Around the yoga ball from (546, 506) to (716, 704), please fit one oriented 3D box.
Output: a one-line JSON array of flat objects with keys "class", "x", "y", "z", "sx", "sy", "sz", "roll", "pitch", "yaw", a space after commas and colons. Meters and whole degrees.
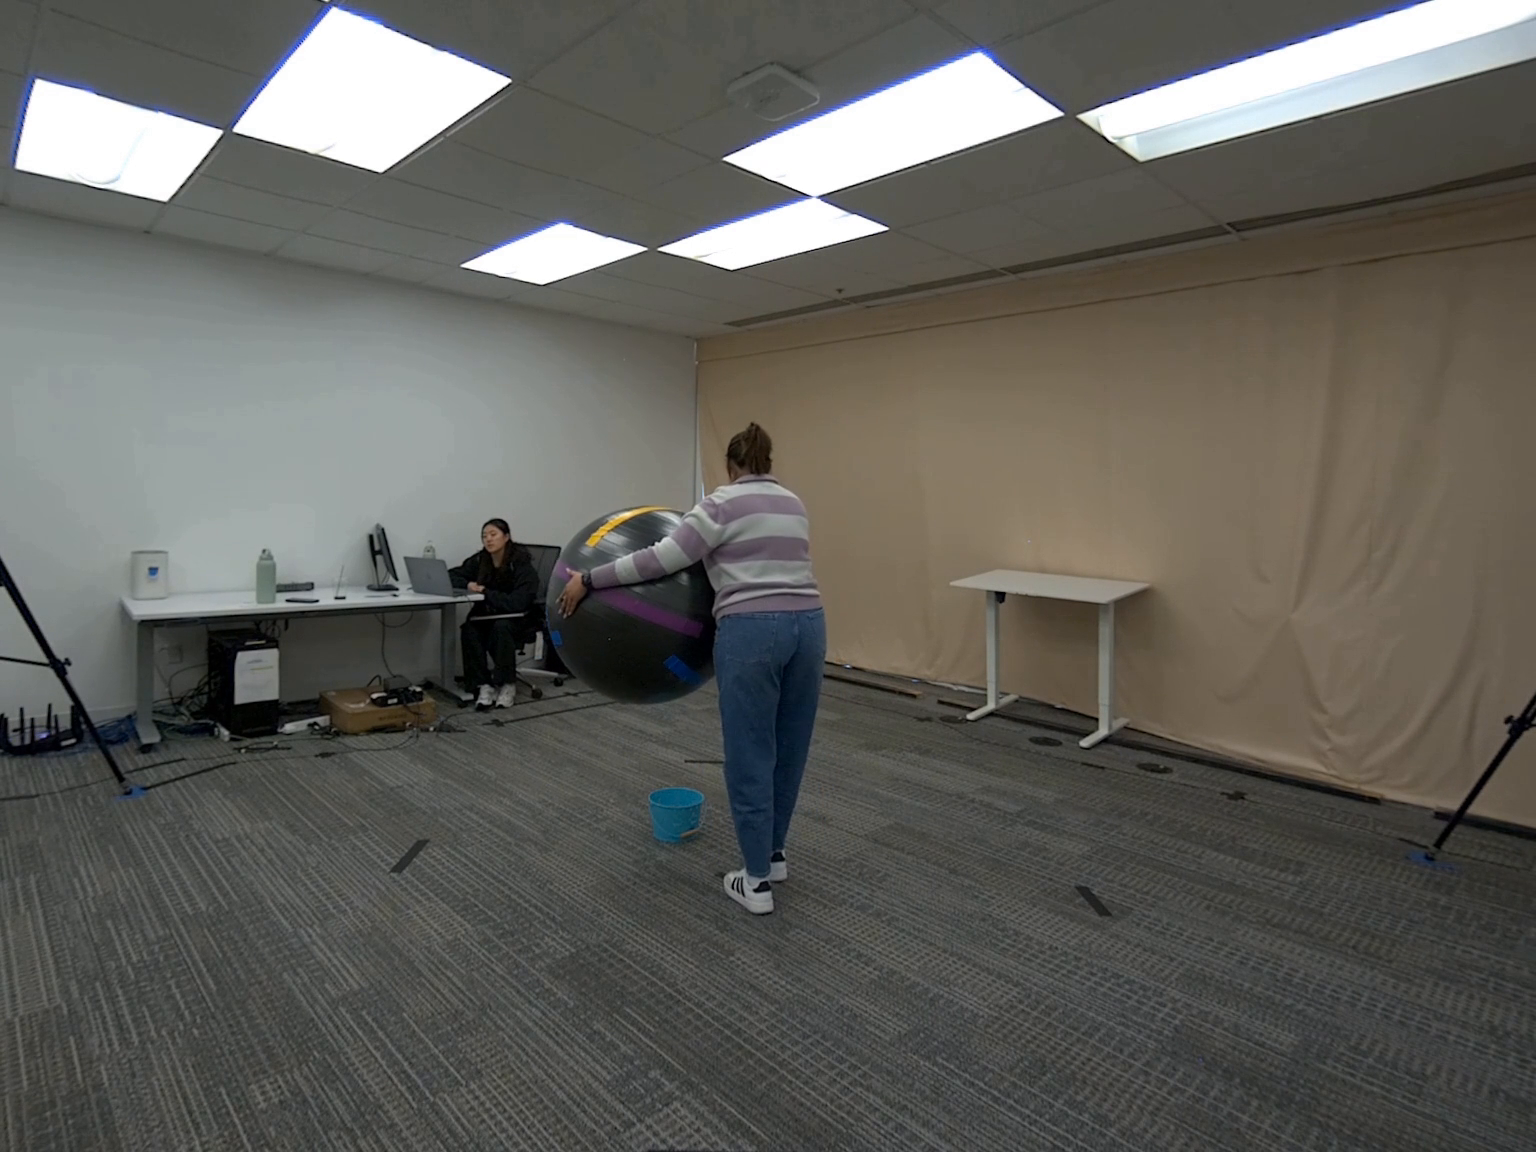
[{"class": "yoga ball", "x": -0.475, "y": 0.114, "z": 3.262, "sx": 0.757, "sy": 0.756, "sz": 0.761, "roll": 1, "pitch": 4, "yaw": -1}]
